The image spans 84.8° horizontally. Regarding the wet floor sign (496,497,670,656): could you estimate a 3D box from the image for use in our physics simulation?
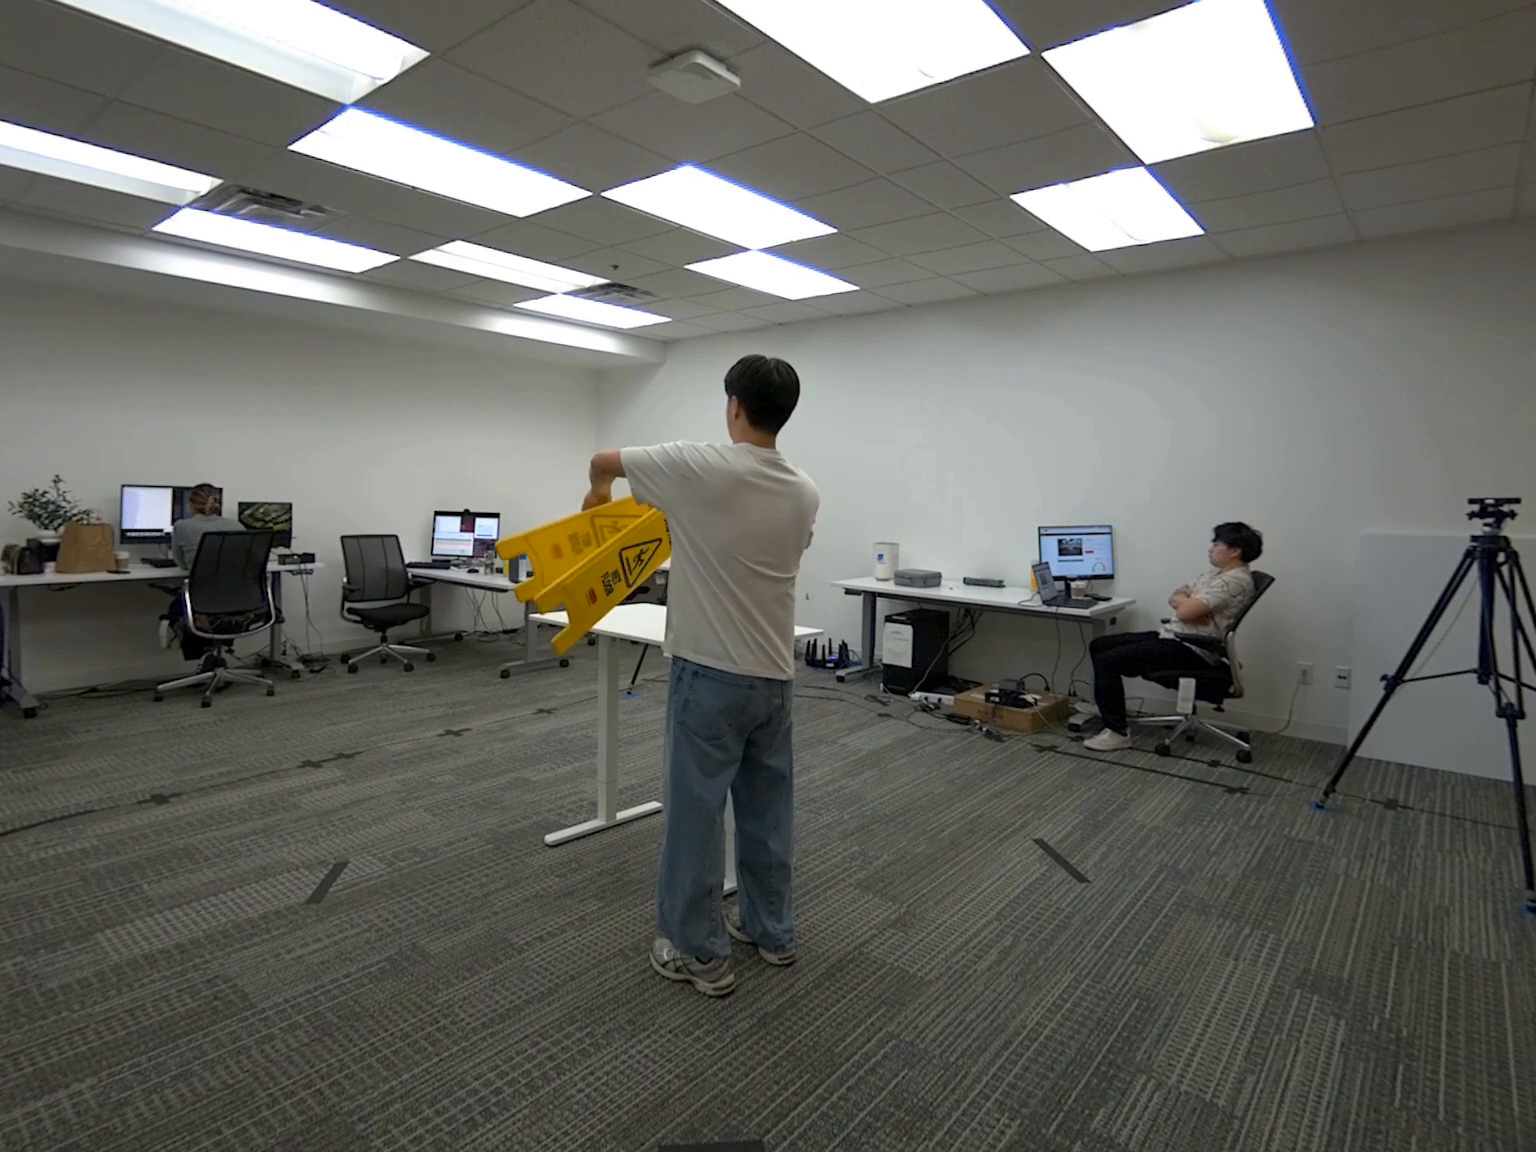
[{"bbox_3d":[-0.438,-0.094,2.556,0.641,0.273,0.301,-33,56,-20],"label":"wet floor sign"}]
